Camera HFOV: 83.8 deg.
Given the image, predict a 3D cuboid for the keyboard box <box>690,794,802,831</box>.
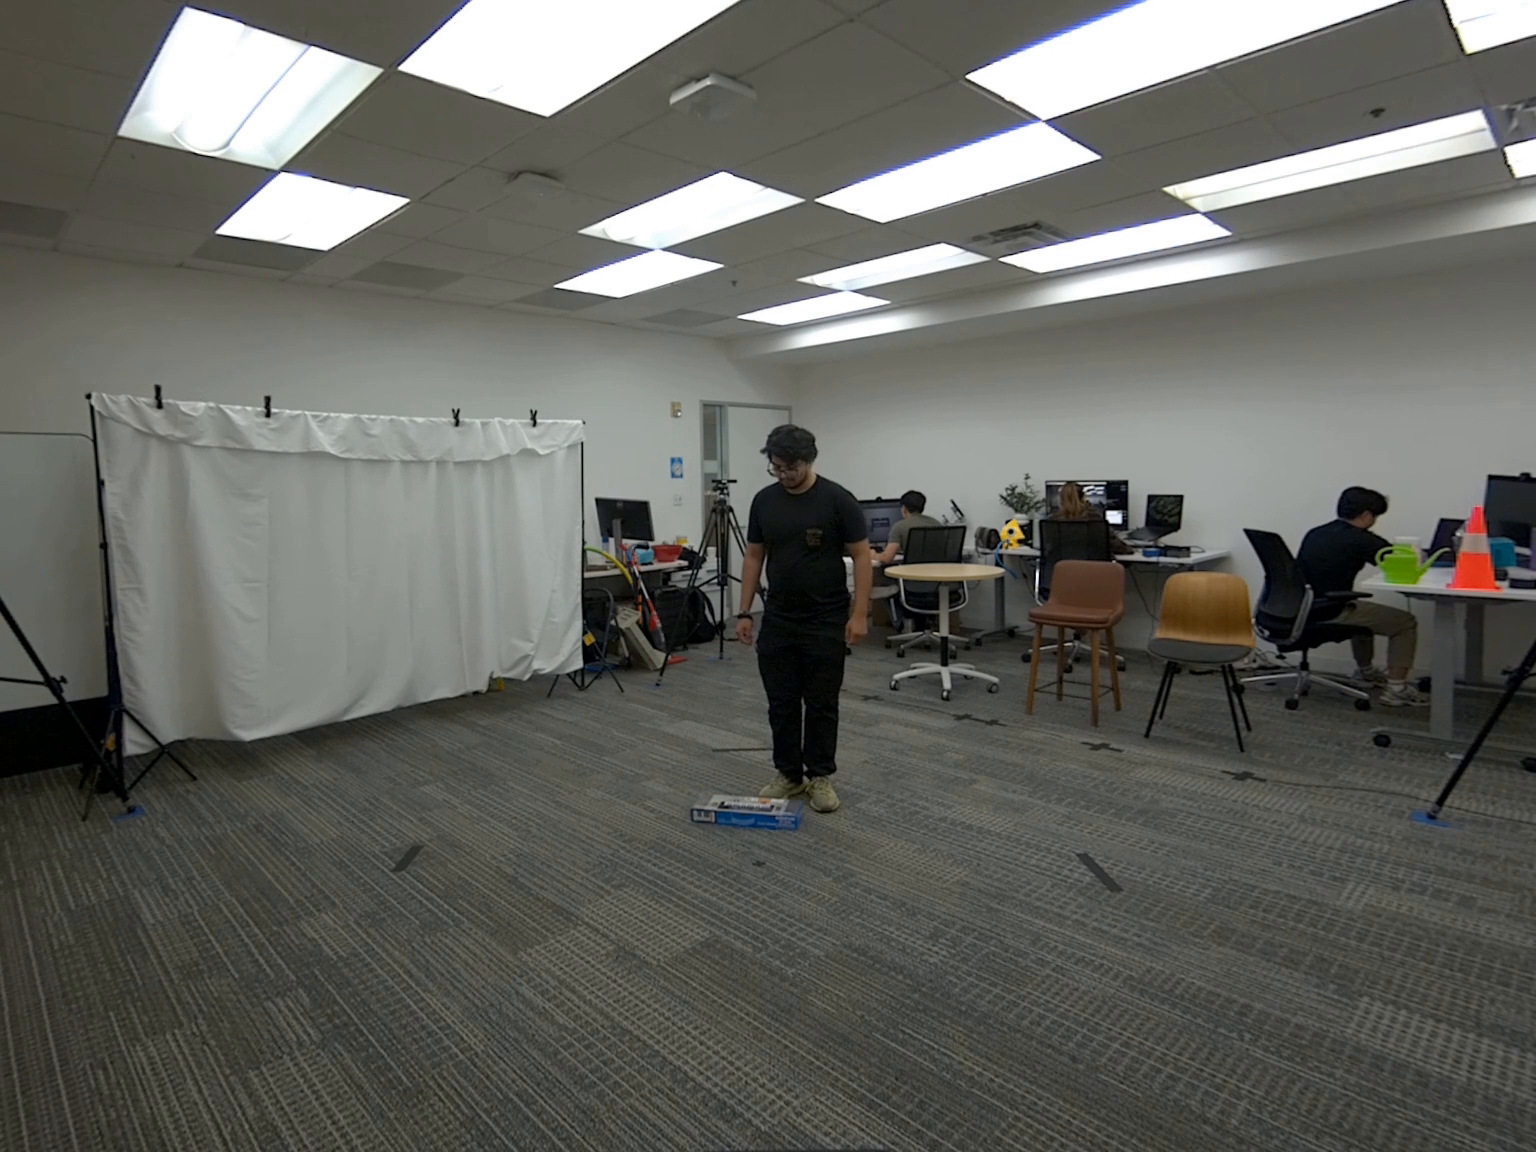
[{"bbox_3d":[-0.084,0.973,3.530,0.443,0.059,0.174,0,5,13],"label":"keyboard box"}]
